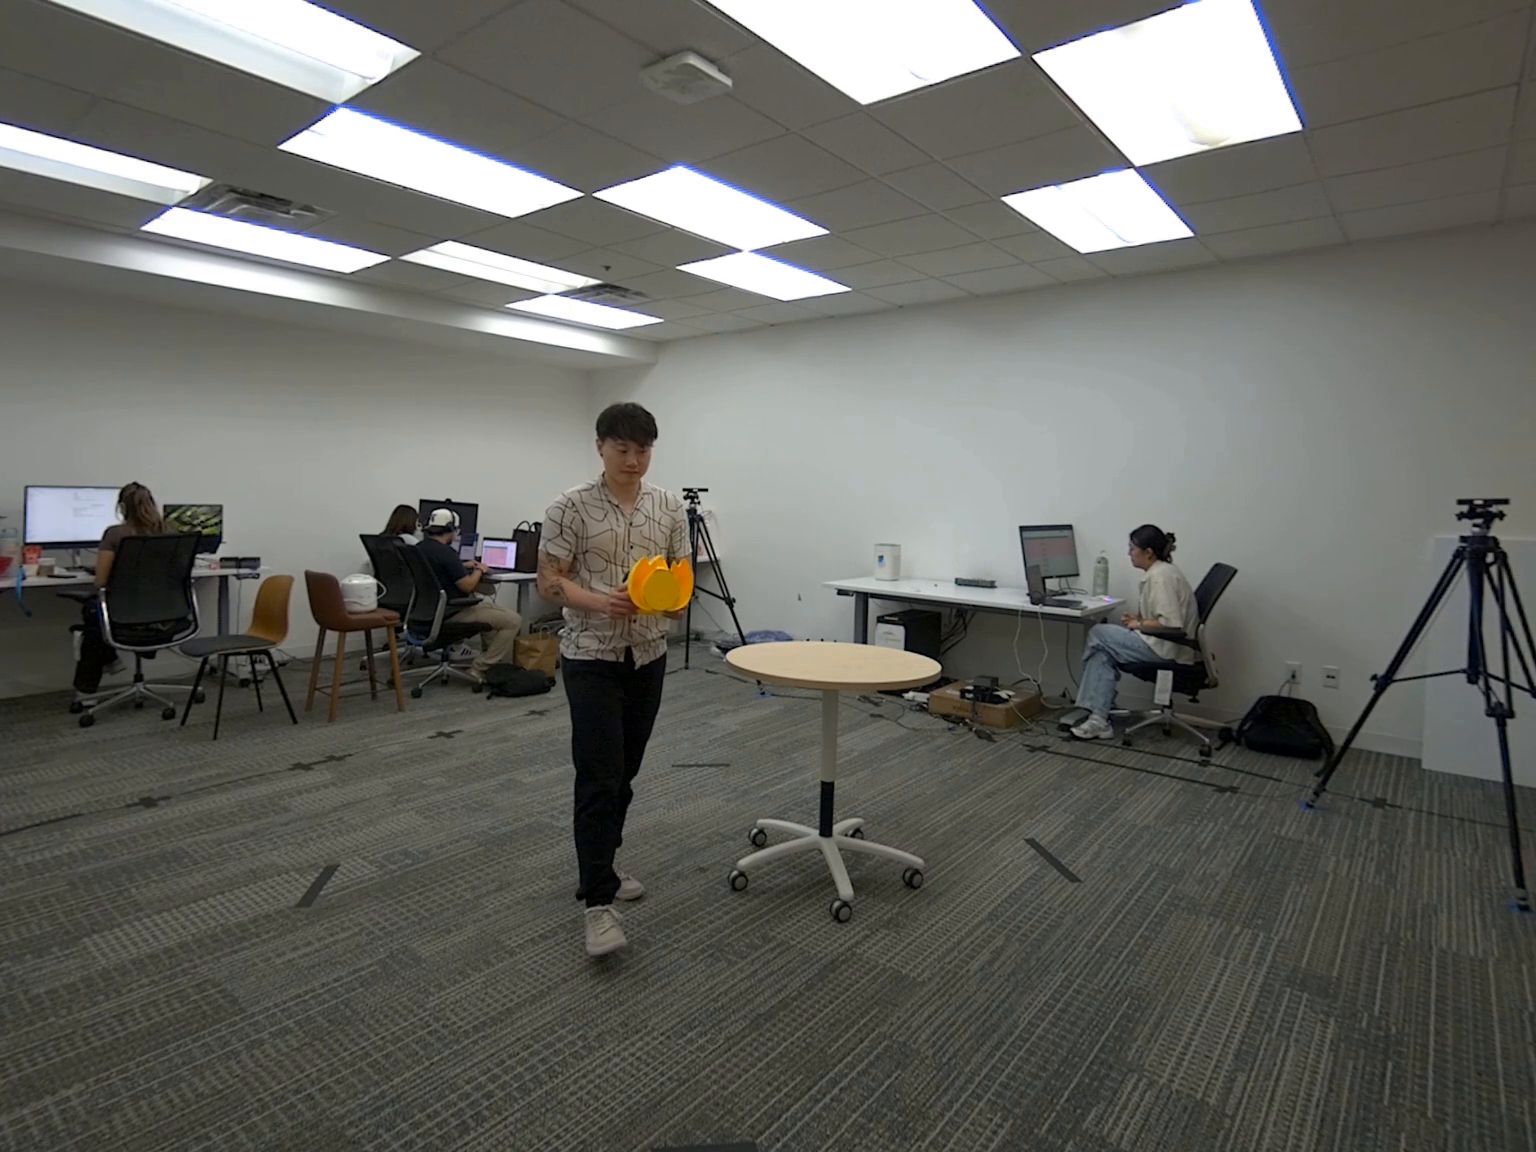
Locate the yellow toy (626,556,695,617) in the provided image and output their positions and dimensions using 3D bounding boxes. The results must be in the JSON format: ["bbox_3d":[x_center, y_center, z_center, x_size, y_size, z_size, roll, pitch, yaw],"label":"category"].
[{"bbox_3d":[-0.386,0.017,2.641,0.199,0.193,0.238,4,4,-29],"label":"yellow toy"}]
